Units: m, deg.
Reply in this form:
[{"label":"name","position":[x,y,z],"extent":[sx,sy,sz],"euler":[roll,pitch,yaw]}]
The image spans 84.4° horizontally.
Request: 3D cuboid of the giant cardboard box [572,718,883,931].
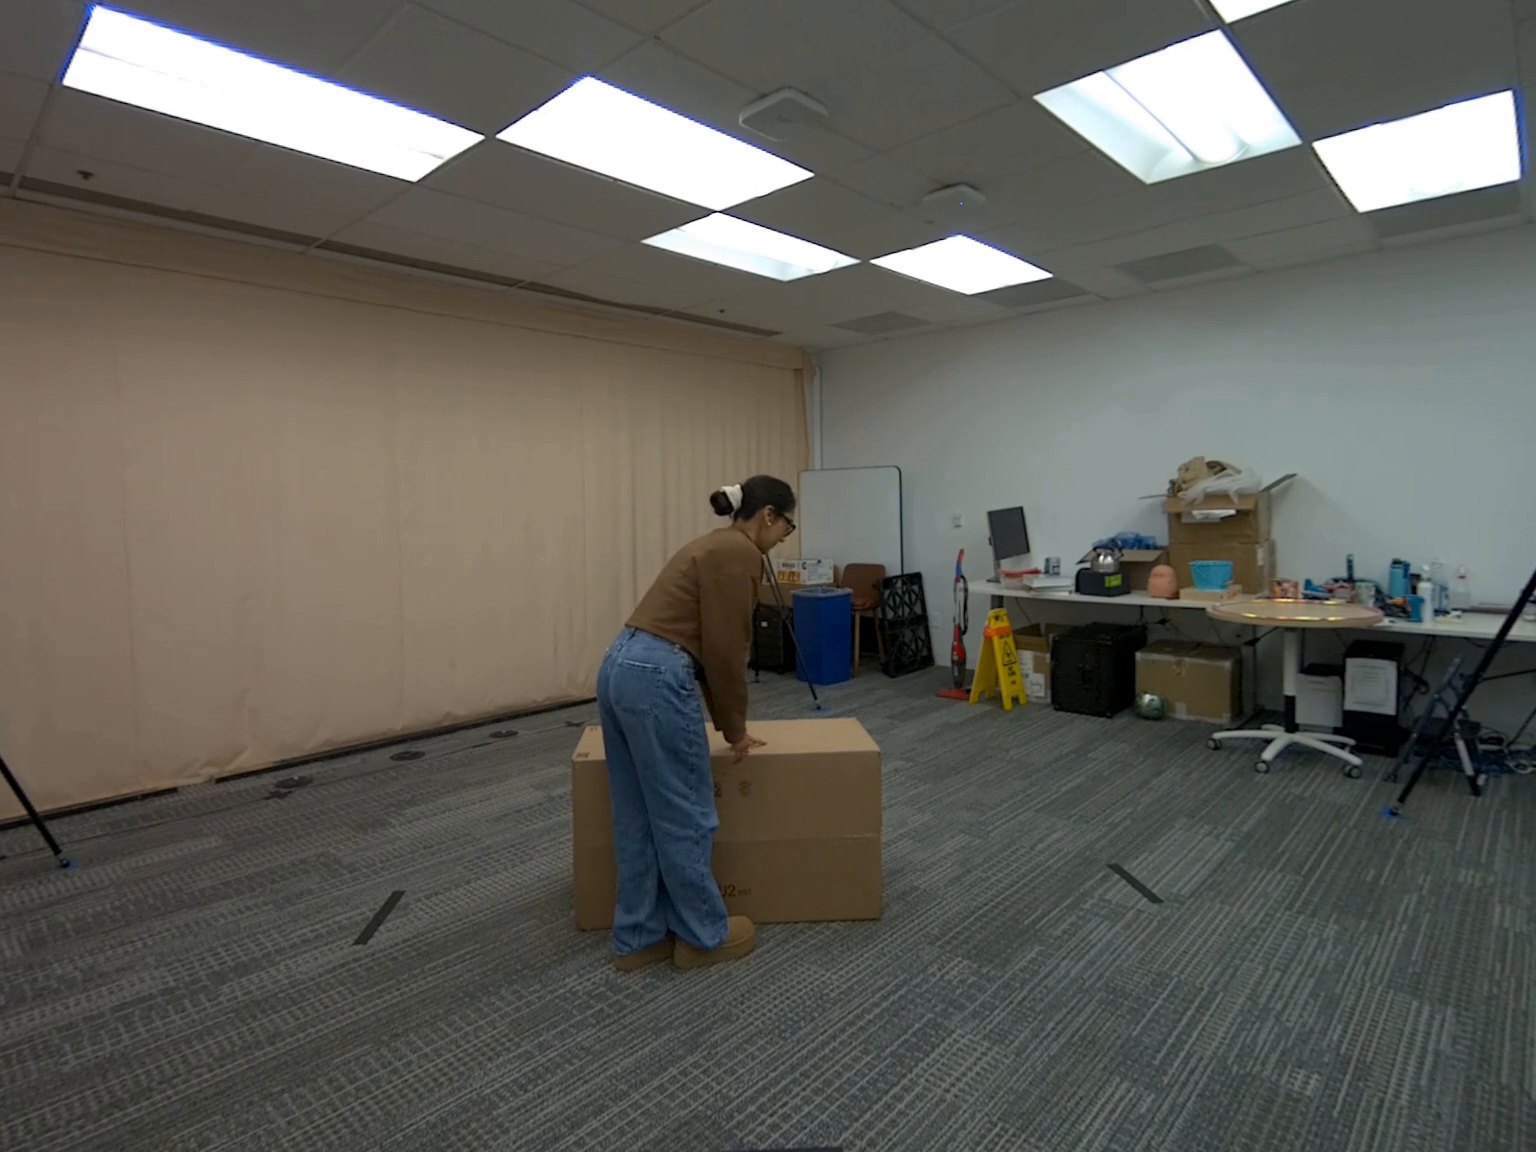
[{"label":"giant cardboard box","position":[-0.150,0.856,2.990],"extent":[1.026,0.582,0.449],"euler":[-1,5,-1]}]
